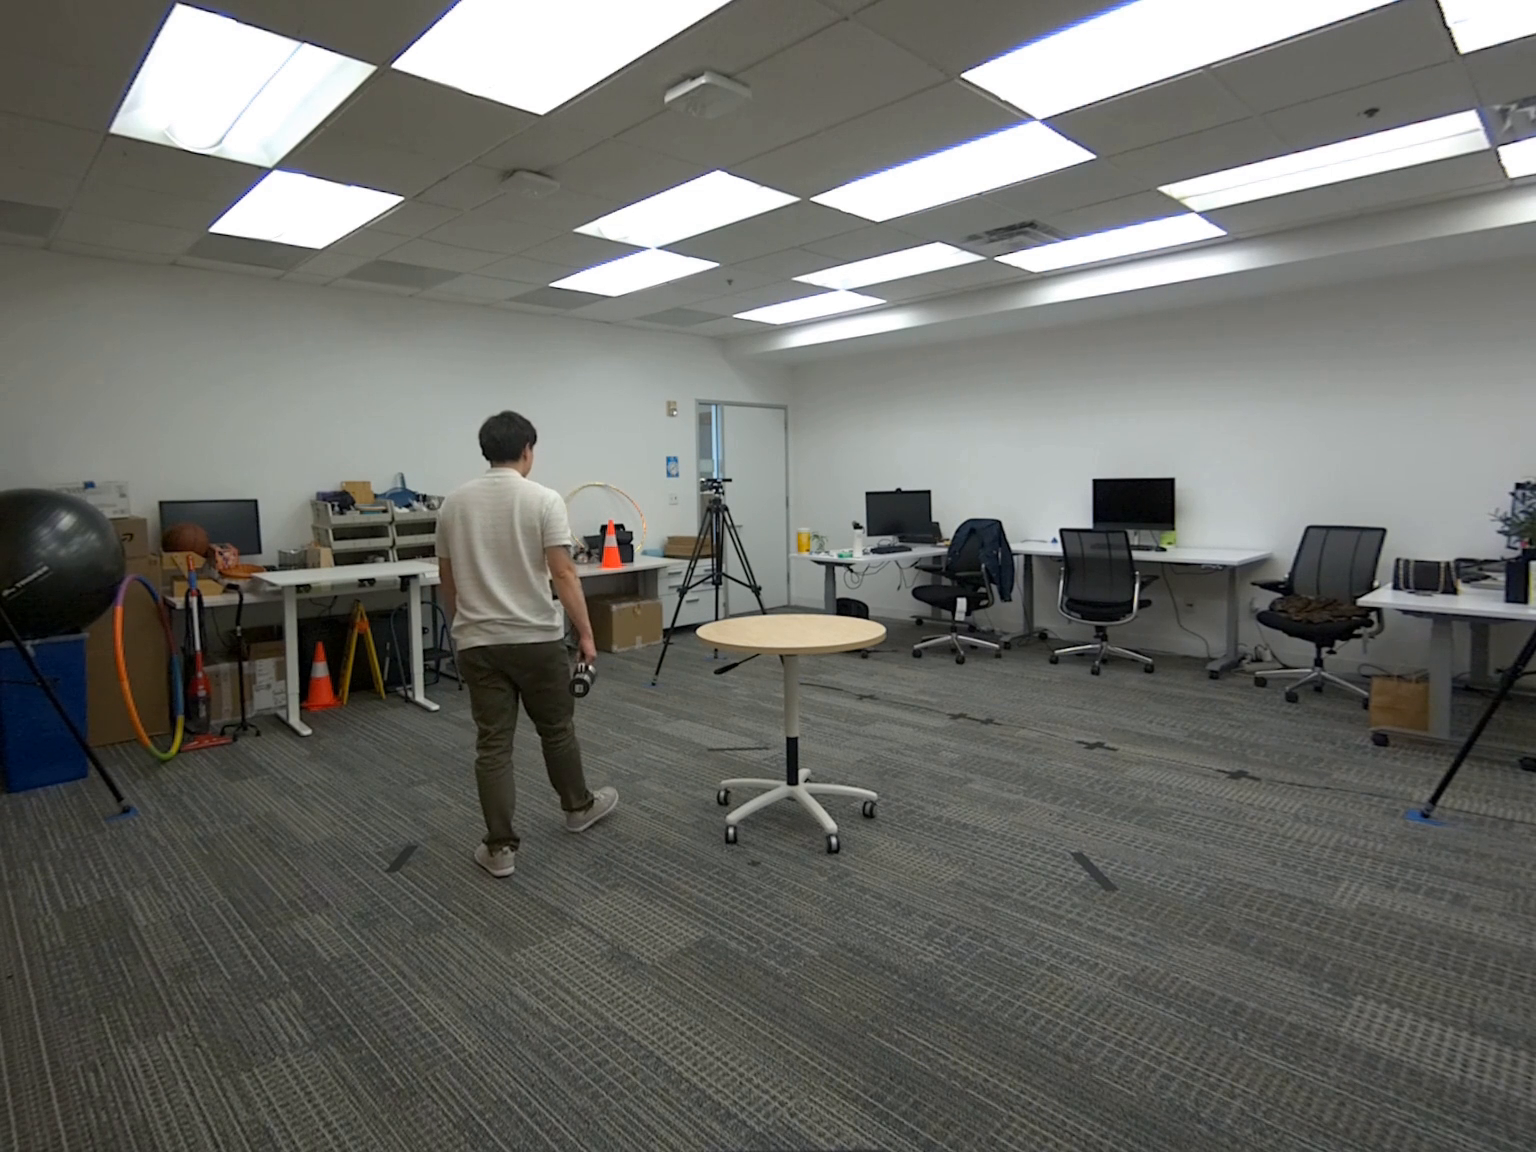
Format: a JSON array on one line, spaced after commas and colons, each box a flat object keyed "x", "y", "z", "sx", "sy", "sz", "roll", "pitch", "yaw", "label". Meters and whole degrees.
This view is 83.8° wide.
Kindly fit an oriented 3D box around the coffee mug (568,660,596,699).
[{"x": -0.675, "y": 0.352, "z": 3.079, "sx": 0.088, "sy": 0.121, "sz": 0.204, "roll": -17, "pitch": 7, "yaw": 1, "label": "coffee mug"}]
